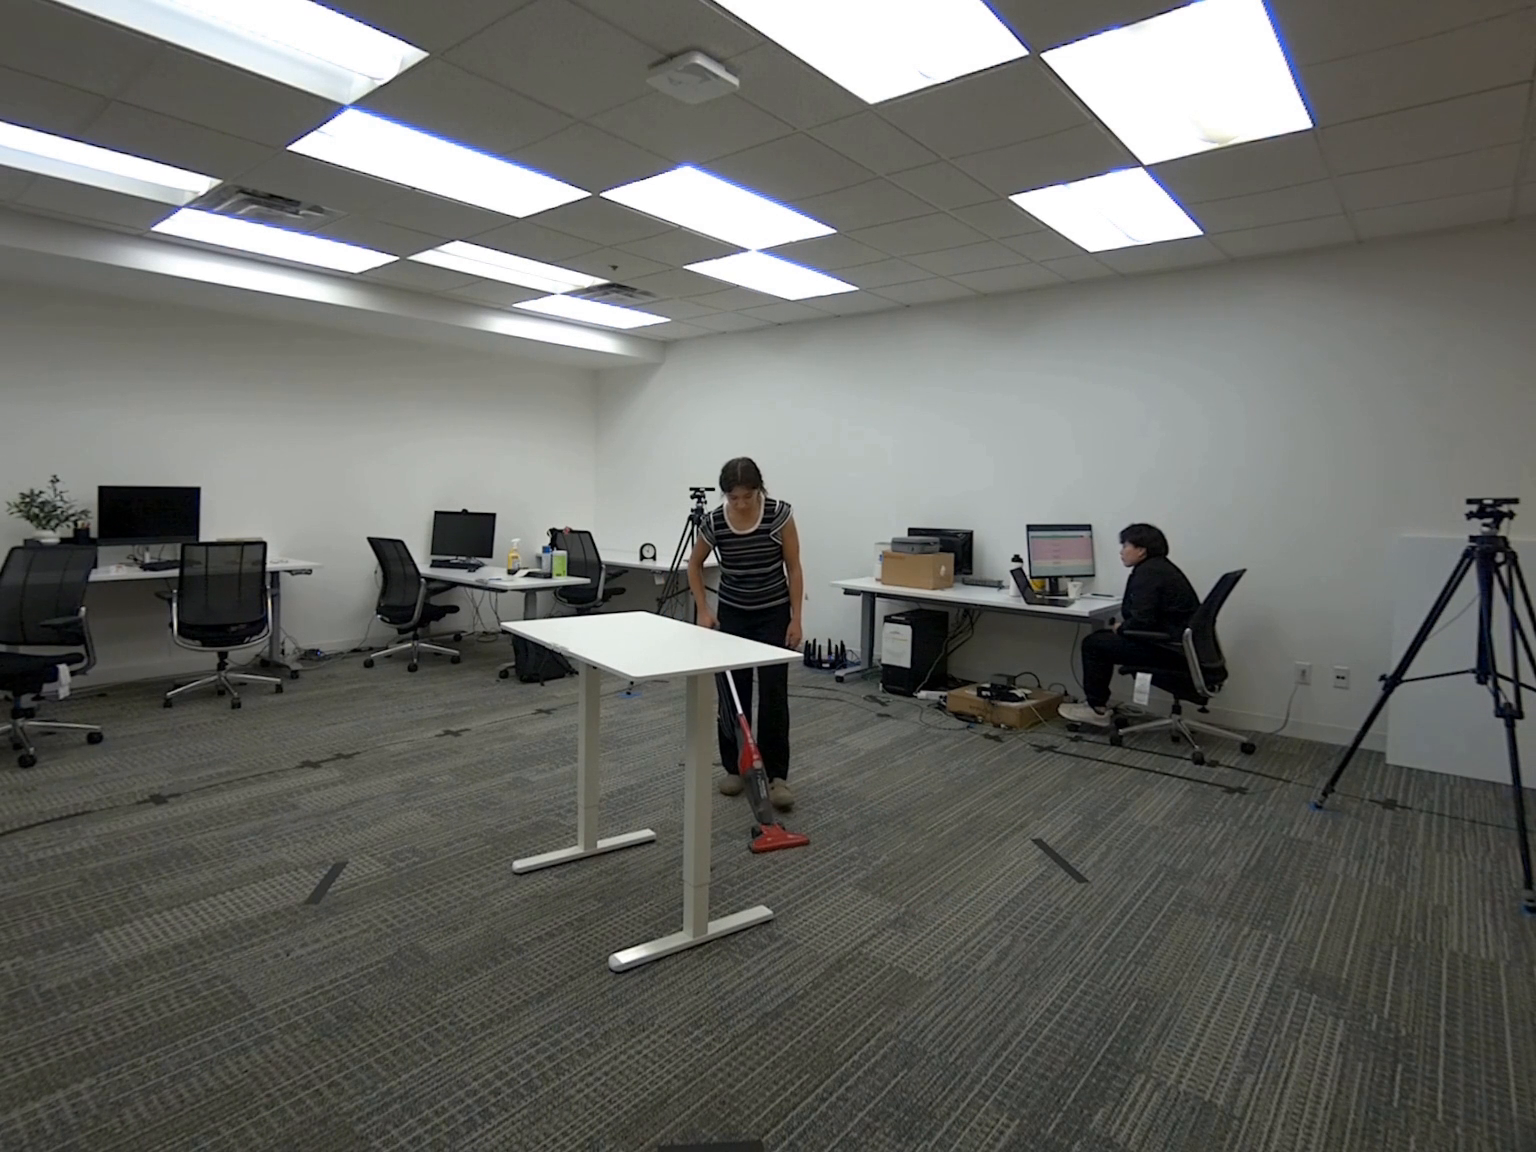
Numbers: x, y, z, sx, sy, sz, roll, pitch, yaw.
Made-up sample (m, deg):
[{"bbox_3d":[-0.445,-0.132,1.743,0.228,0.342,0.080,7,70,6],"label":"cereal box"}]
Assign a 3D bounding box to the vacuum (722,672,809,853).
[{"bbox_3d":[-0.134,0.630,3.658,0.248,1.089,0.141,-7,-39,-21],"label":"vacuum"}]
